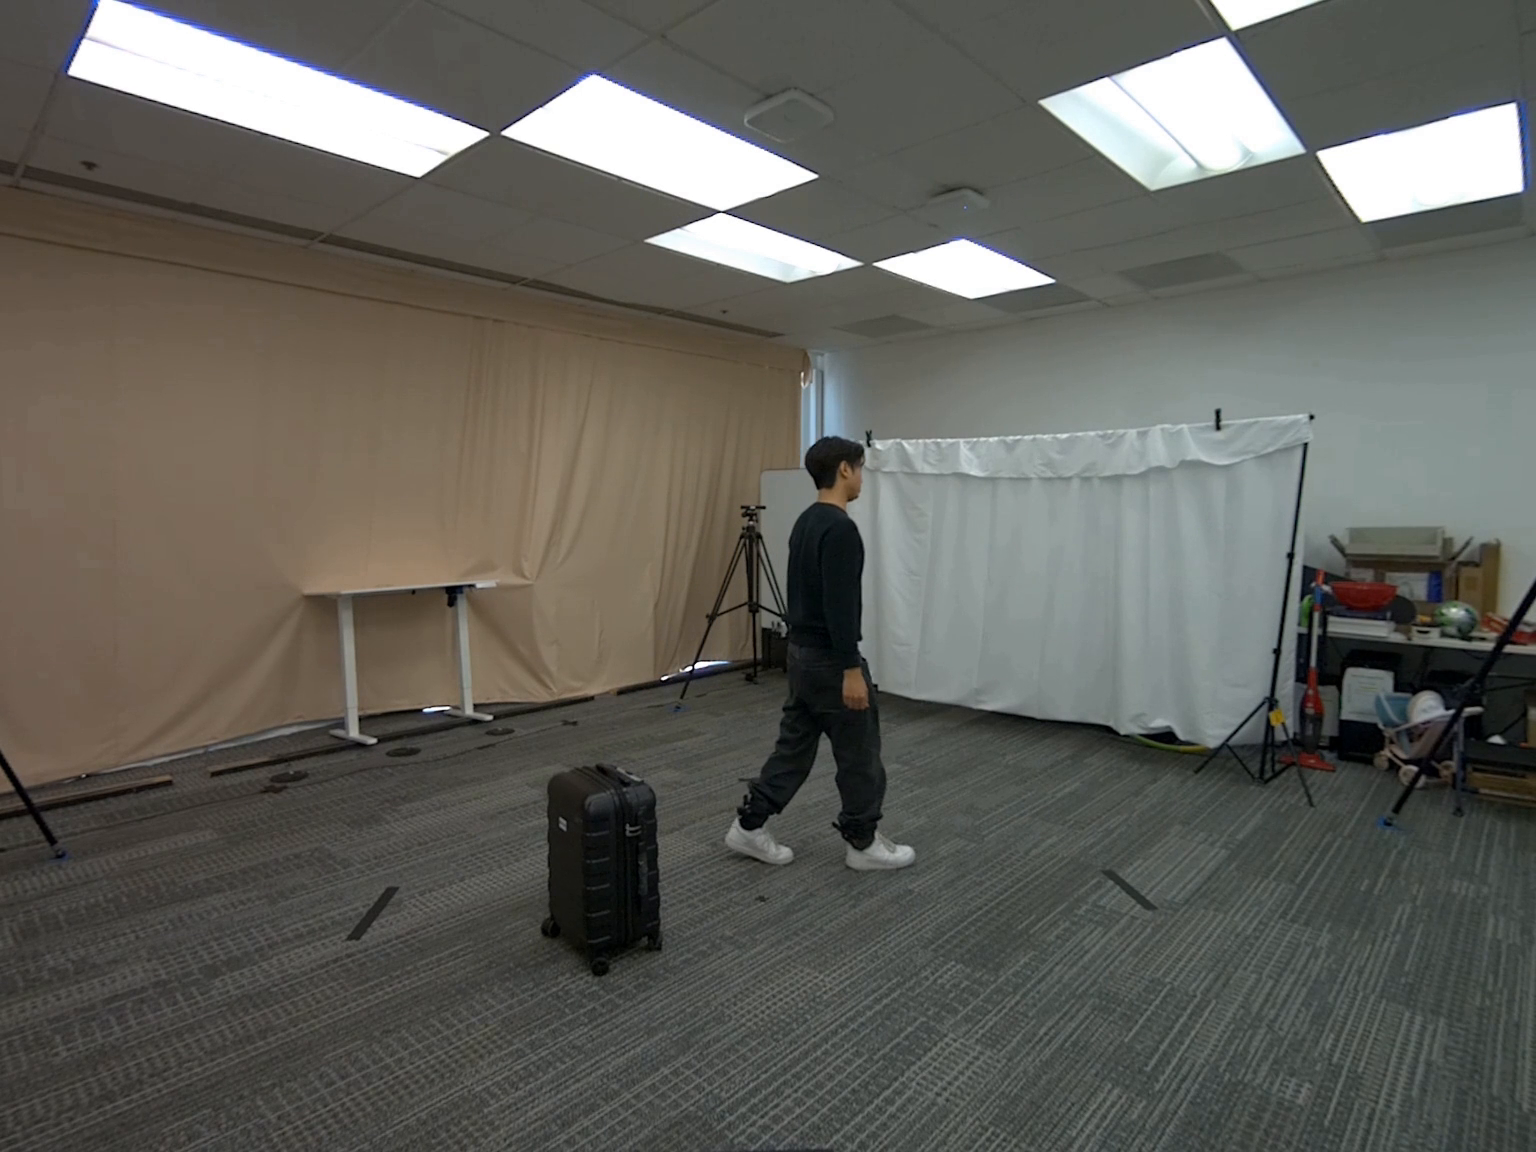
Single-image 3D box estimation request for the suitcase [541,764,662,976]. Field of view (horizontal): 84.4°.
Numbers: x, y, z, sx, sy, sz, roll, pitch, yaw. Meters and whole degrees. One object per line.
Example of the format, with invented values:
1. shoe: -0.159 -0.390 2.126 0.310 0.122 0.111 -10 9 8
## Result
1. suitcase: -0.527 0.897 2.670 0.241 0.548 0.387 -3 5 -37
